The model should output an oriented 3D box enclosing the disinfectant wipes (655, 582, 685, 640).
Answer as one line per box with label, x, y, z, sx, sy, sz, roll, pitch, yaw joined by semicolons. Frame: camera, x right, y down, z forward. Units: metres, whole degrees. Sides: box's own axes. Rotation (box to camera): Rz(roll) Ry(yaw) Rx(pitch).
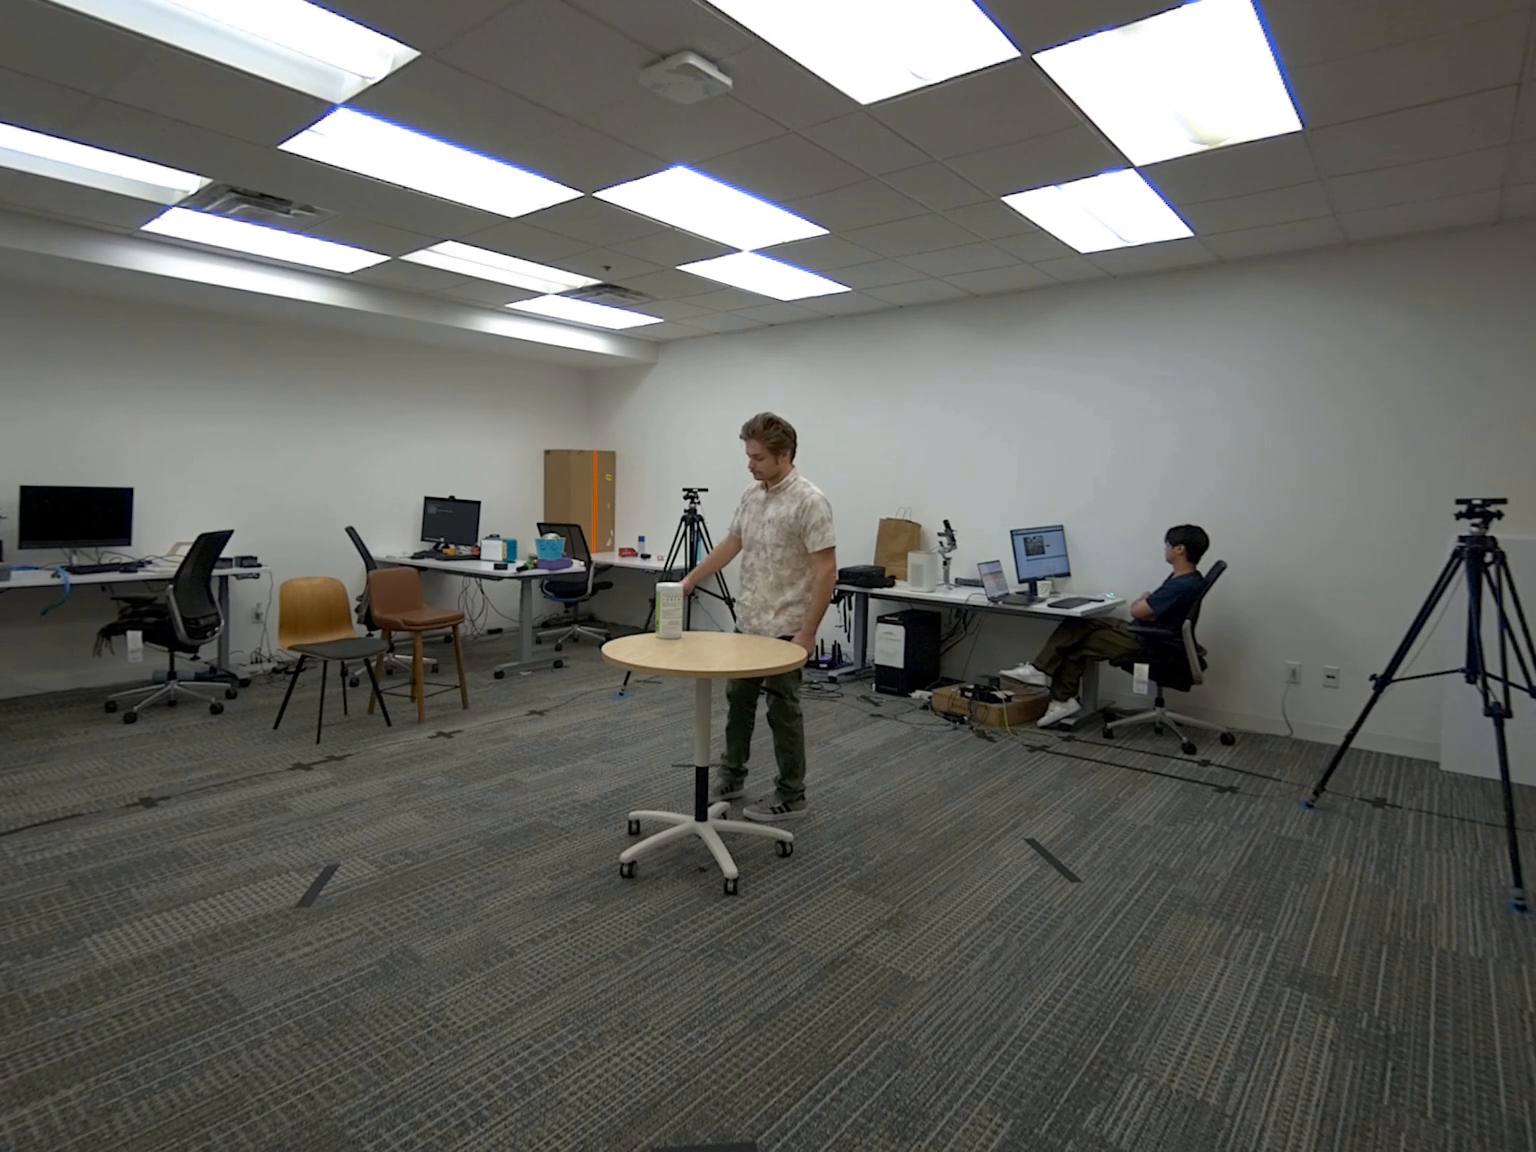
disinfectant wipes;-0.406;0.135;3.406;0.118;0.216;0.118;-1;4;-2
